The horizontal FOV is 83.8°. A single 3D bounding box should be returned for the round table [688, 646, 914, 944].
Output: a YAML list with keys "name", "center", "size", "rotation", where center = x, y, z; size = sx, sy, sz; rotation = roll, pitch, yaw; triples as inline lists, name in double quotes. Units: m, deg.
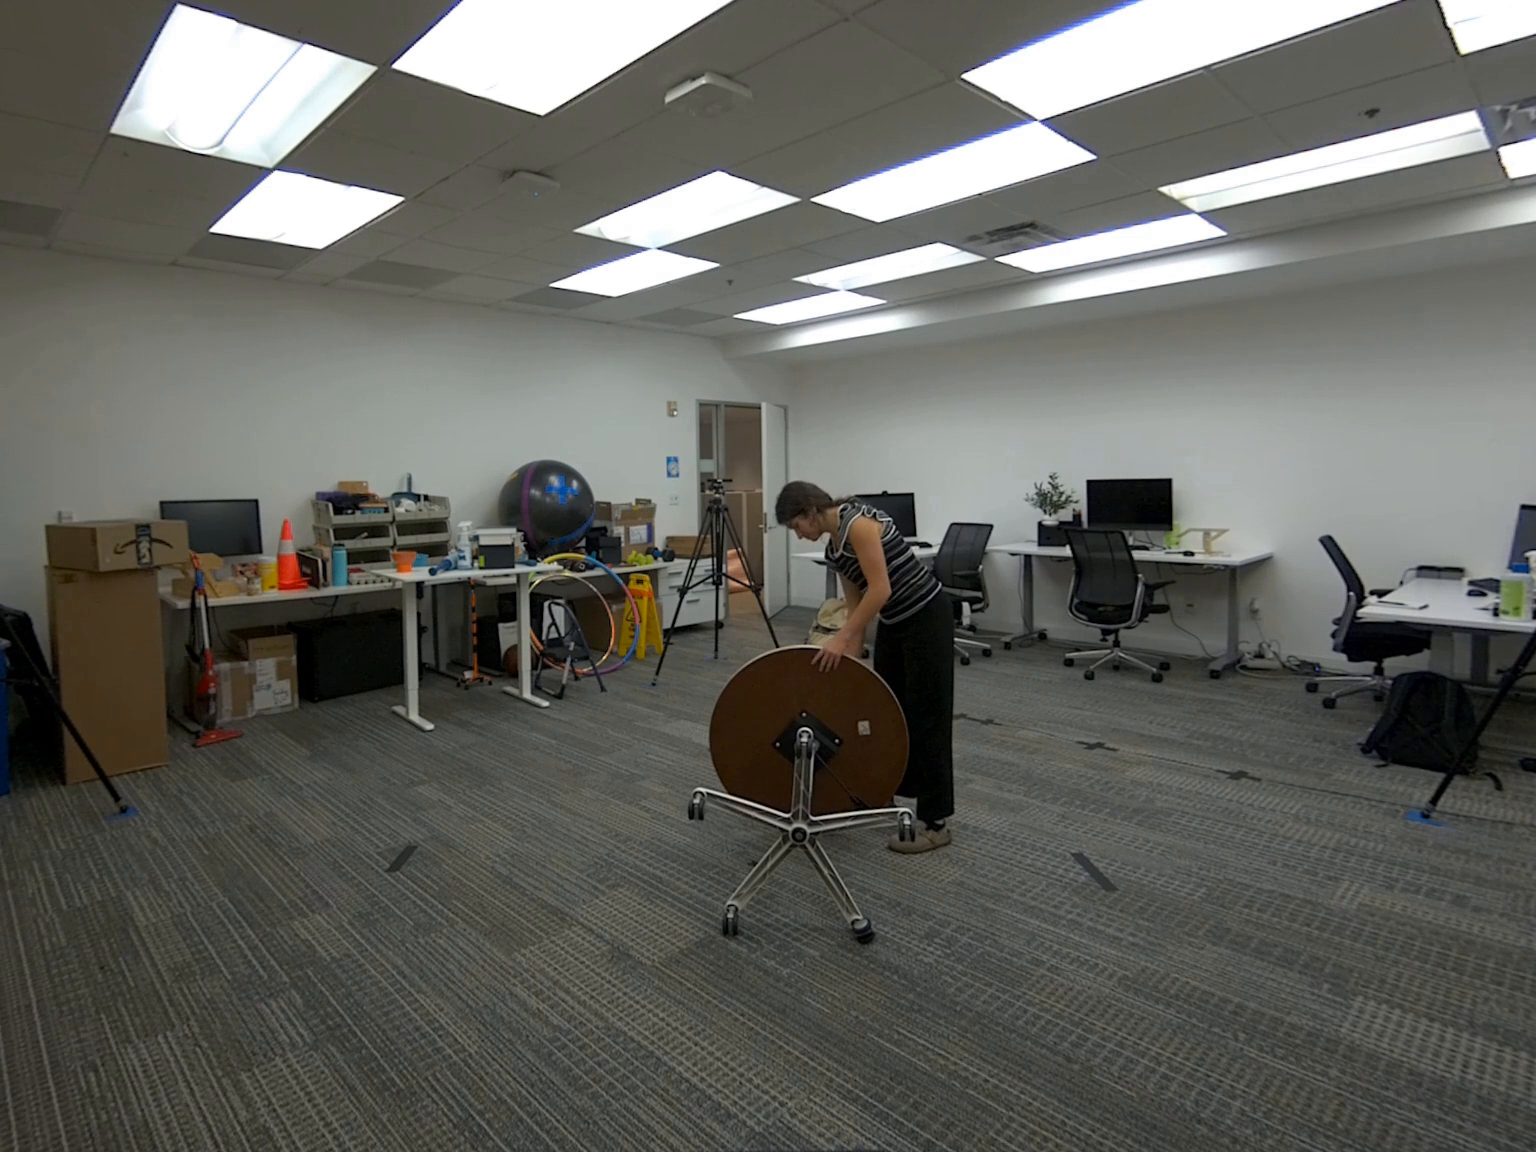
- name: "round table"
  center: [0.126, 0.727, 2.909]
  size: [0.791, 0.777, 0.788]
  rotation: [0, 11, 7]
